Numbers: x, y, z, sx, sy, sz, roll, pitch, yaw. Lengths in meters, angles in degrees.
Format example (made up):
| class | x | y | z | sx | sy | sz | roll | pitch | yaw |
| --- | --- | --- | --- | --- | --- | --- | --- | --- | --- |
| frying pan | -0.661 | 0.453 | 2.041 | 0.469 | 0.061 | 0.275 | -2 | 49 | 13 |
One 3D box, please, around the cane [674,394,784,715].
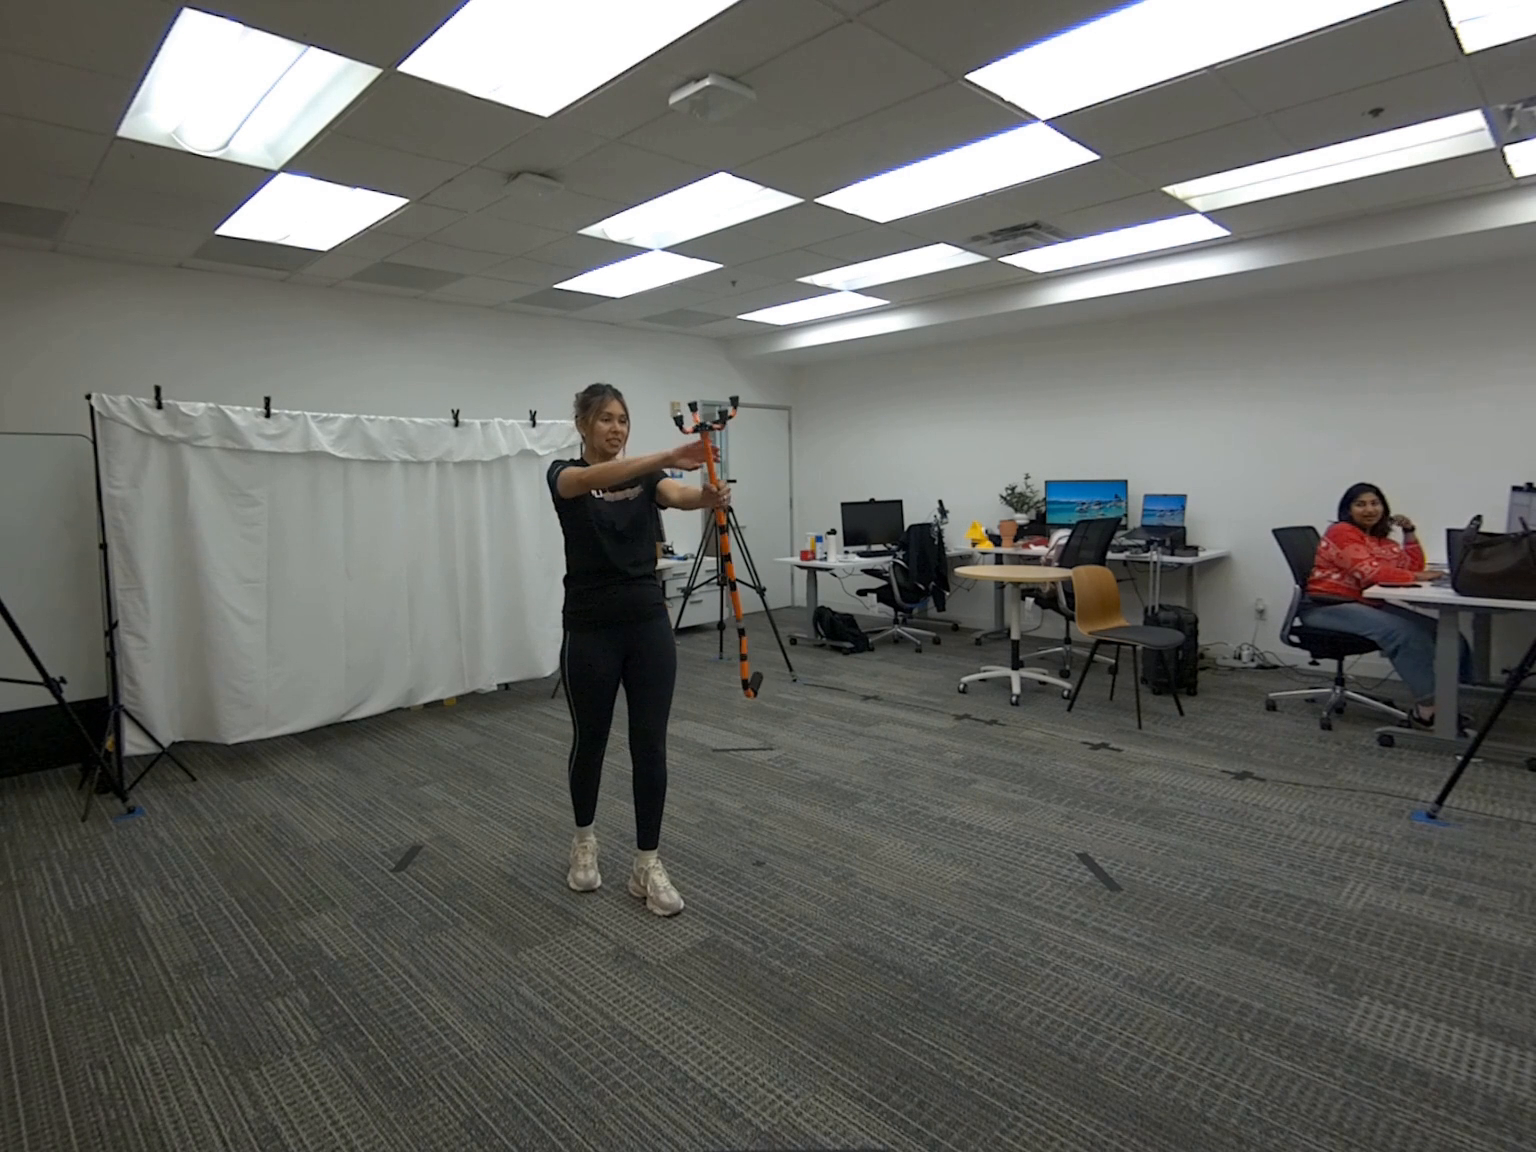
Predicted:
| class | x | y | z | sx | sy | sz | roll | pitch | yaw |
| --- | --- | --- | --- | --- | --- | --- | --- | --- | --- |
| cane | -0.100 | -0.050 | 2.476 | 0.153 | 0.890 | 0.208 | -4 | 20 | 12 |
